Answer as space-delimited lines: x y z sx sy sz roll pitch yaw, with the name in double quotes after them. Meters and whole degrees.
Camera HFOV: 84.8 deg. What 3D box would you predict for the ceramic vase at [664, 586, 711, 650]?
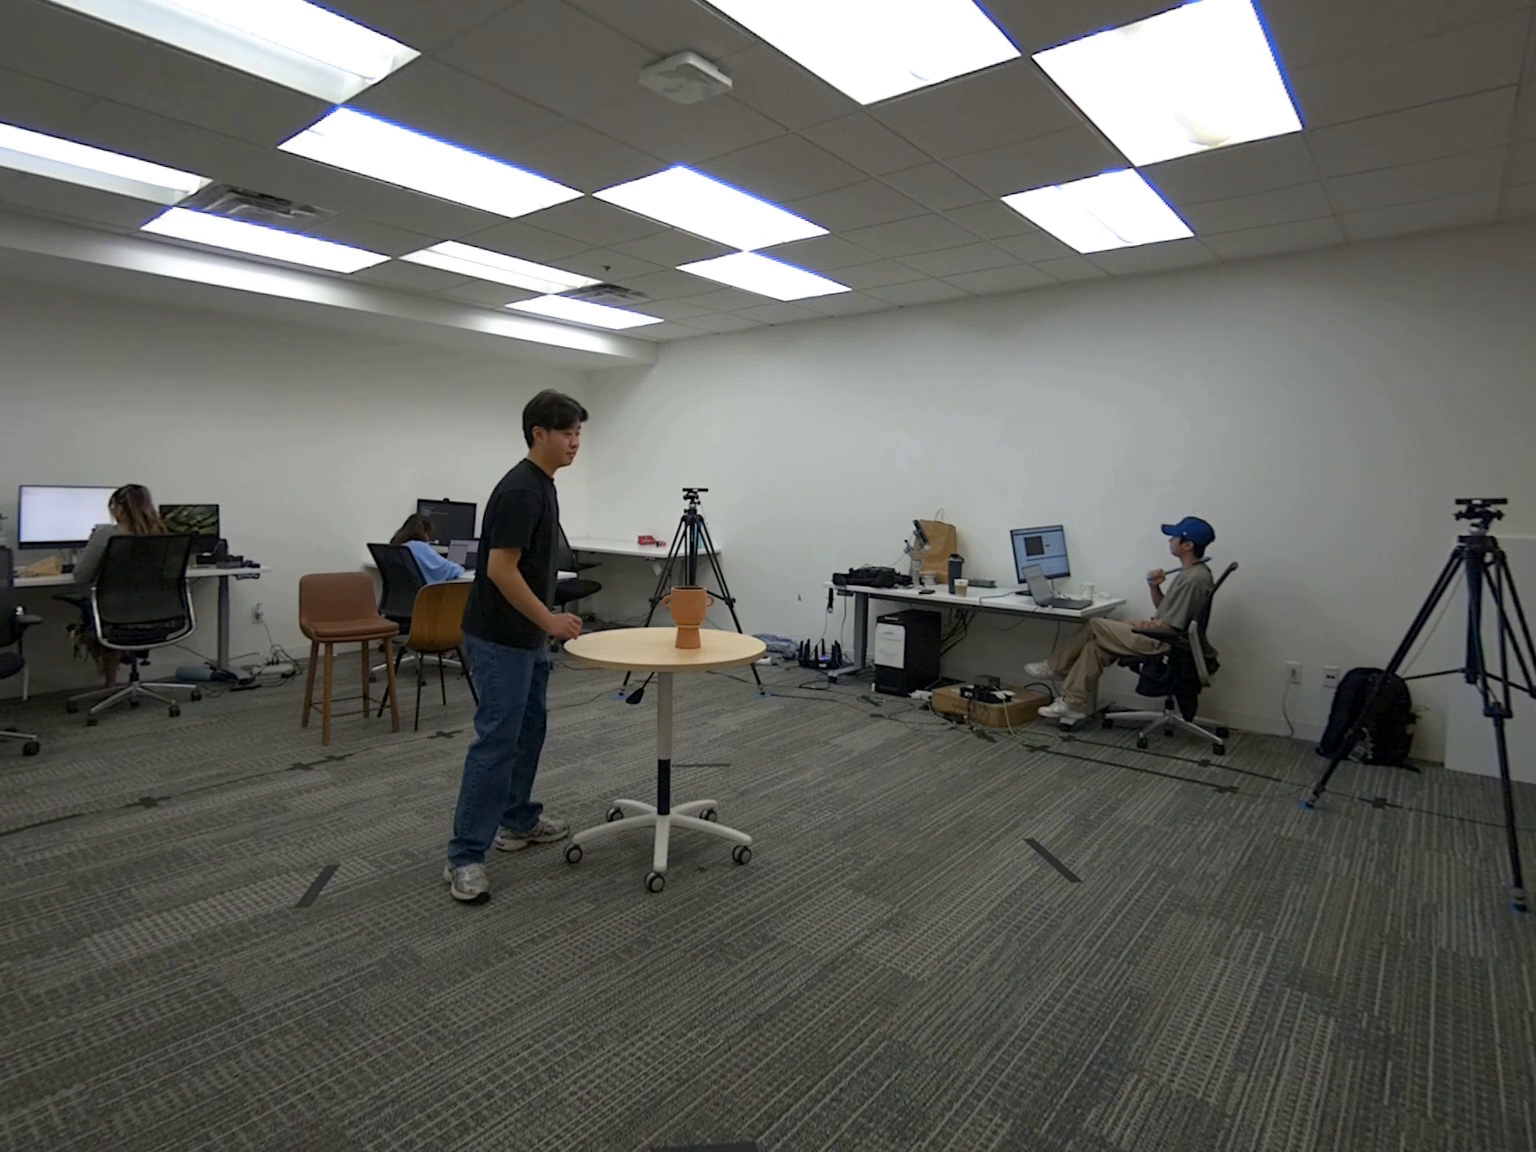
-0.312 0.156 3.183 0.163 0.219 0.132 3 5 23 "ceramic vase"
